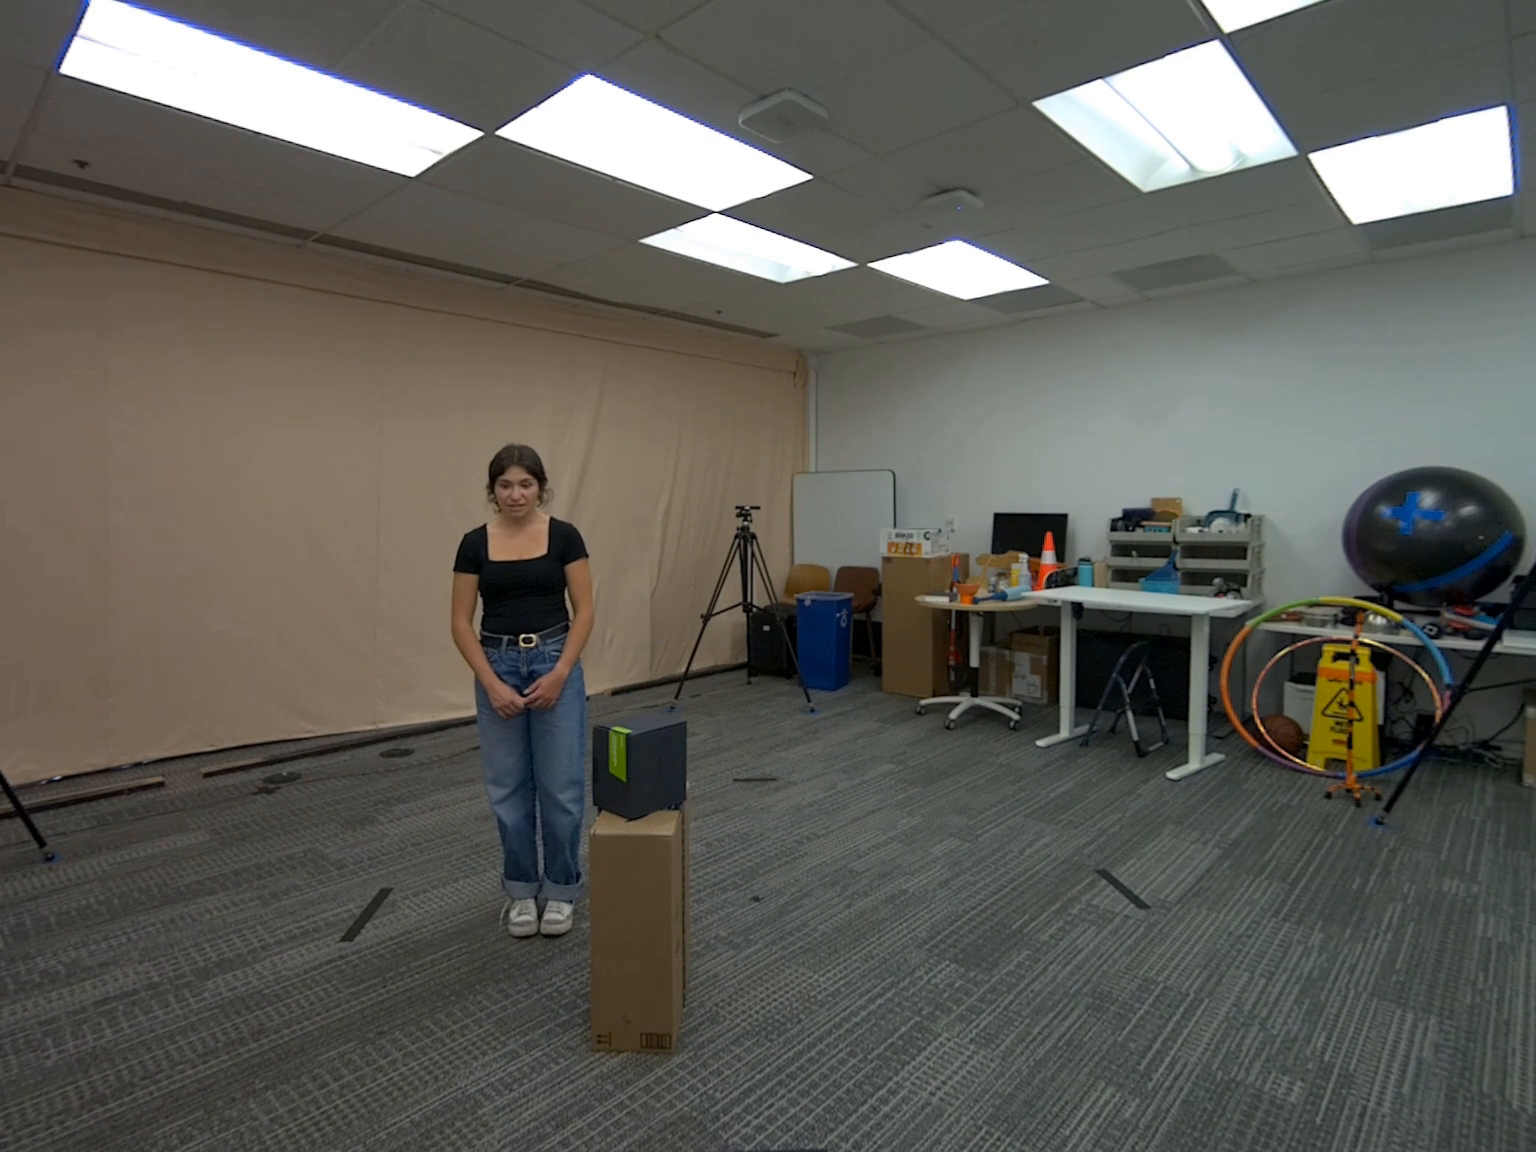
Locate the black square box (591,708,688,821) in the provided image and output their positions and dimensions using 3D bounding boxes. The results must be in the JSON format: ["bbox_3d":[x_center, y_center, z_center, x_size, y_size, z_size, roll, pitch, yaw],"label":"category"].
[{"bbox_3d":[-0.352,0.518,2.337,0.161,0.227,0.210,3,5,42],"label":"black square box"}]
